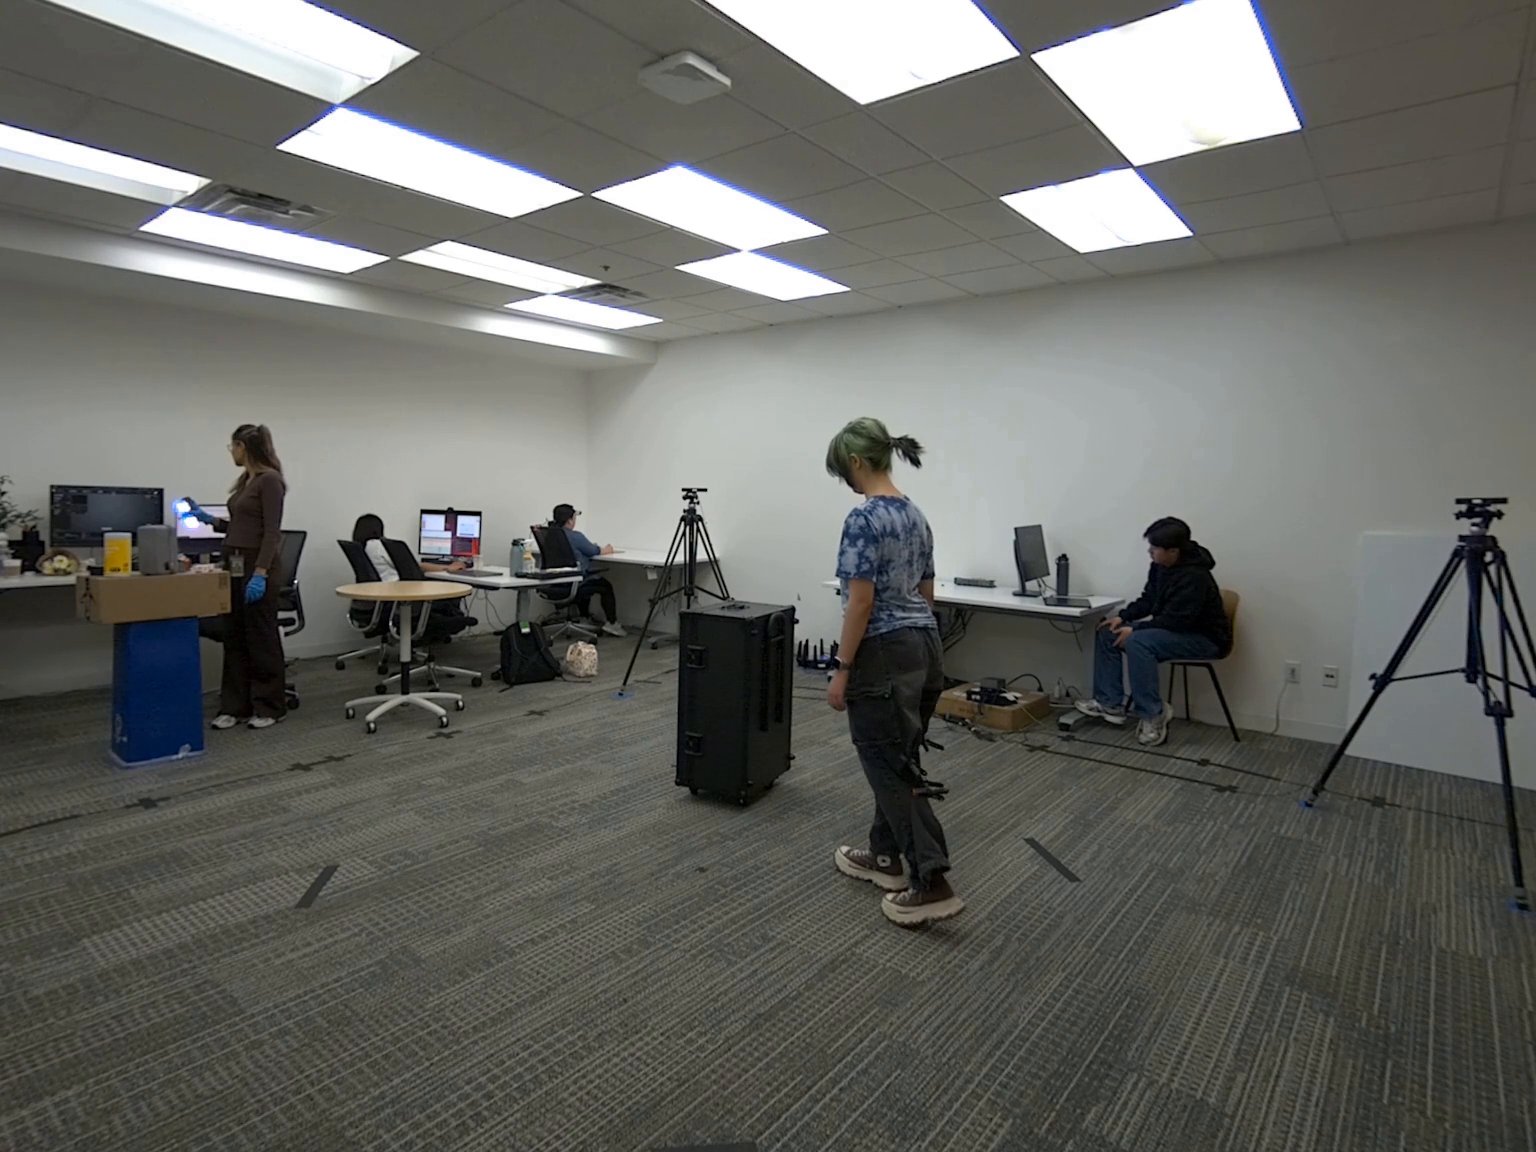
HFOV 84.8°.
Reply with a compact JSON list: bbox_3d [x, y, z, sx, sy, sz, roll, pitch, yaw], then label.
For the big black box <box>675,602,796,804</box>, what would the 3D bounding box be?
[{"bbox_3d":[-0.141,0.569,3.903,0.407,0.859,0.508,4,4,27],"label":"big black box"}]
